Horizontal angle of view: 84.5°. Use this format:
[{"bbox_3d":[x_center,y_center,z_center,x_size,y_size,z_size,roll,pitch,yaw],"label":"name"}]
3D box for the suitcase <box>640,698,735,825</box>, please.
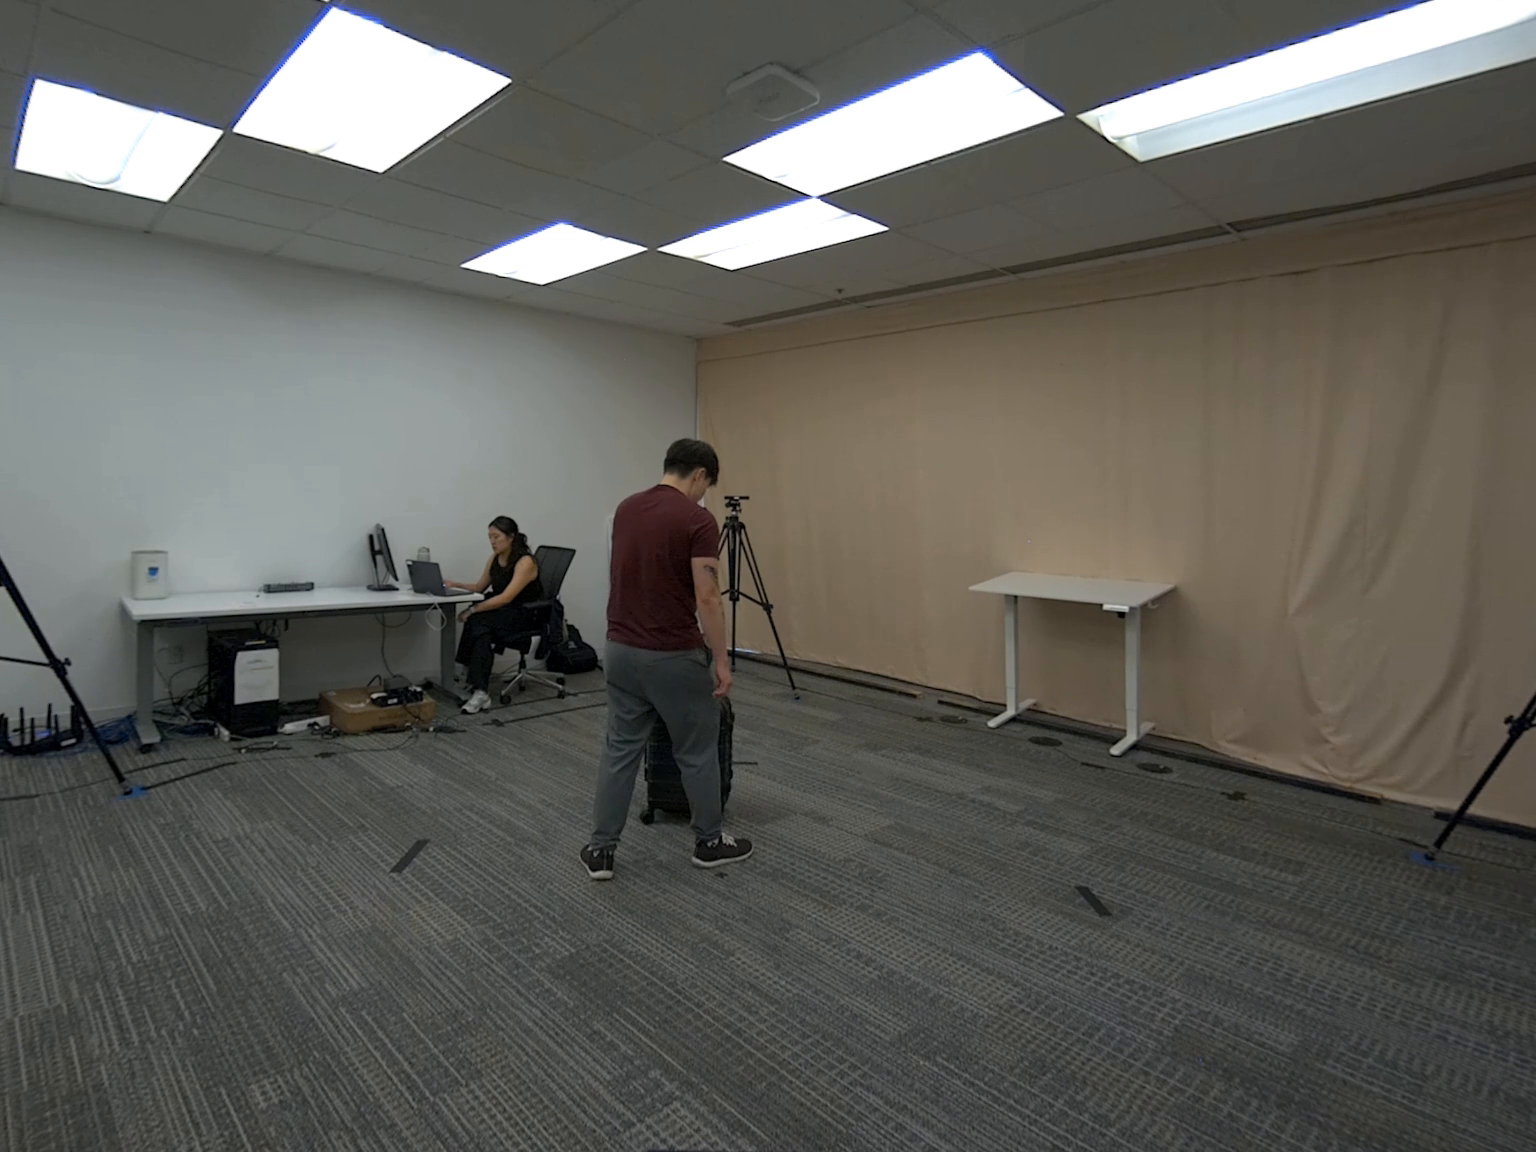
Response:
[{"bbox_3d":[-0.342,0.572,3.671,0.384,0.978,0.257,3,1,1],"label":"suitcase"}]
